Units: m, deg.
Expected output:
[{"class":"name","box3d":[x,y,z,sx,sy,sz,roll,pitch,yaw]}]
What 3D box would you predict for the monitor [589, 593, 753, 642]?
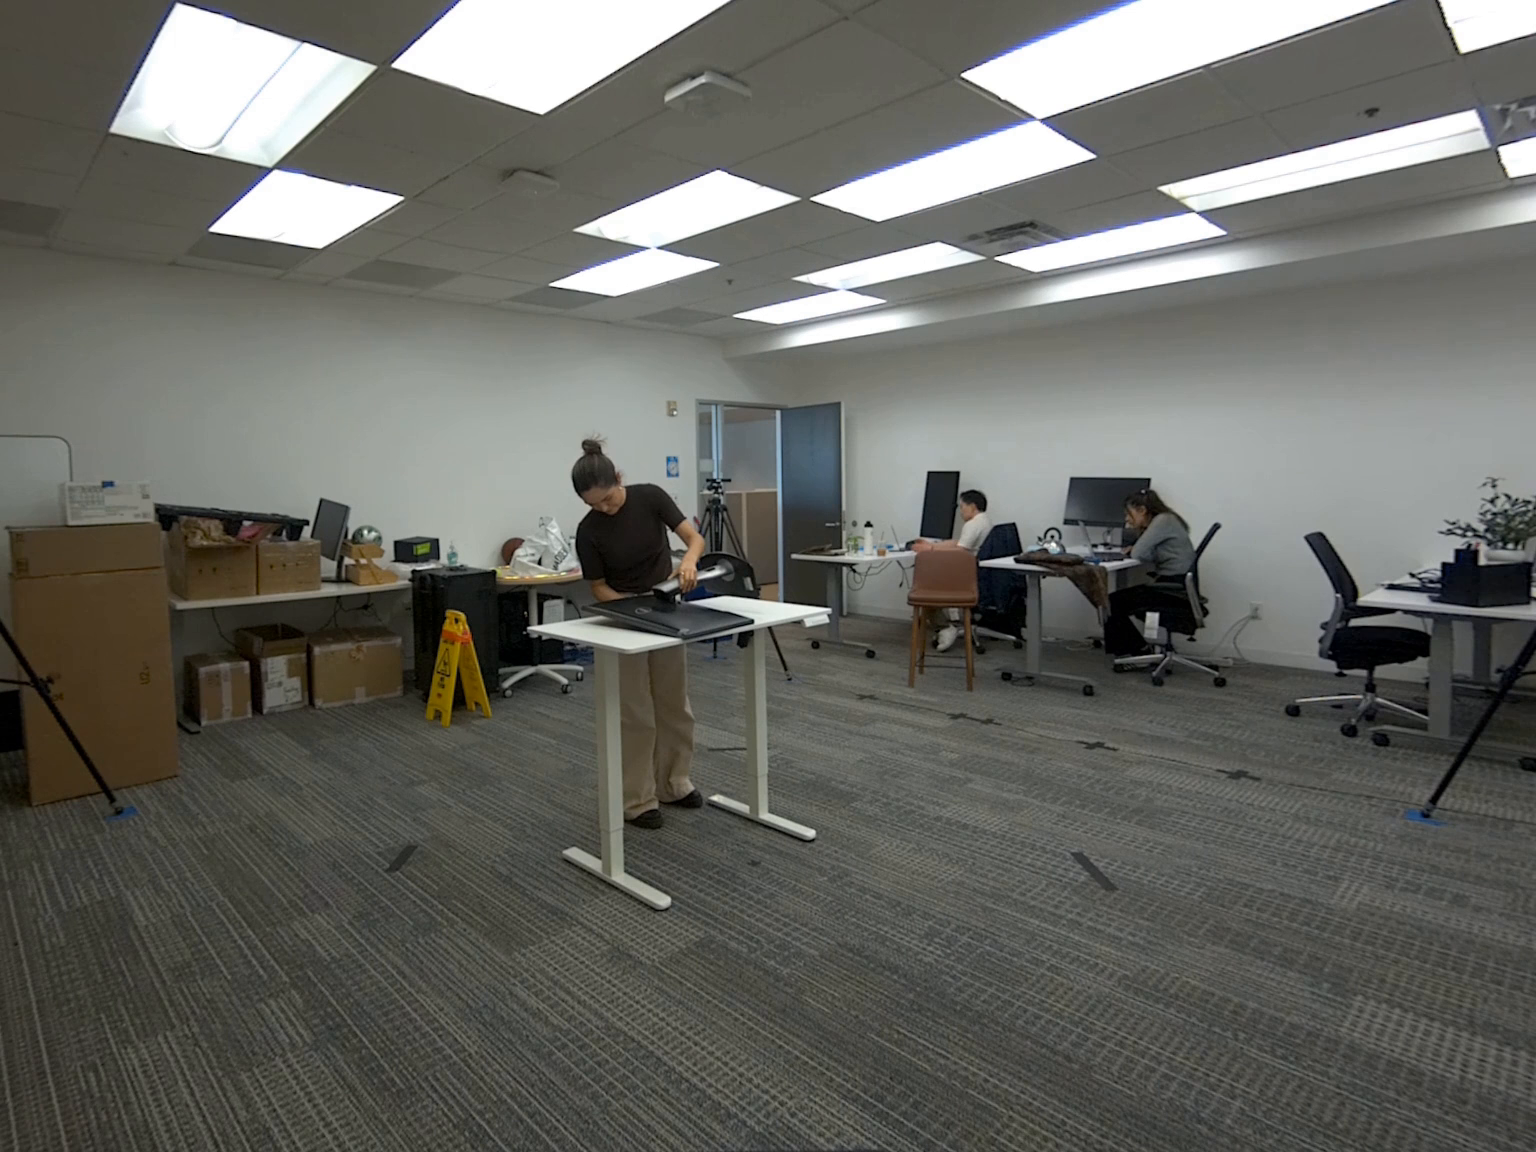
[{"class":"monitor","box3d":[-0.305,0.083,3.122,0.556,0.183,0.516,8,27,41]}]
